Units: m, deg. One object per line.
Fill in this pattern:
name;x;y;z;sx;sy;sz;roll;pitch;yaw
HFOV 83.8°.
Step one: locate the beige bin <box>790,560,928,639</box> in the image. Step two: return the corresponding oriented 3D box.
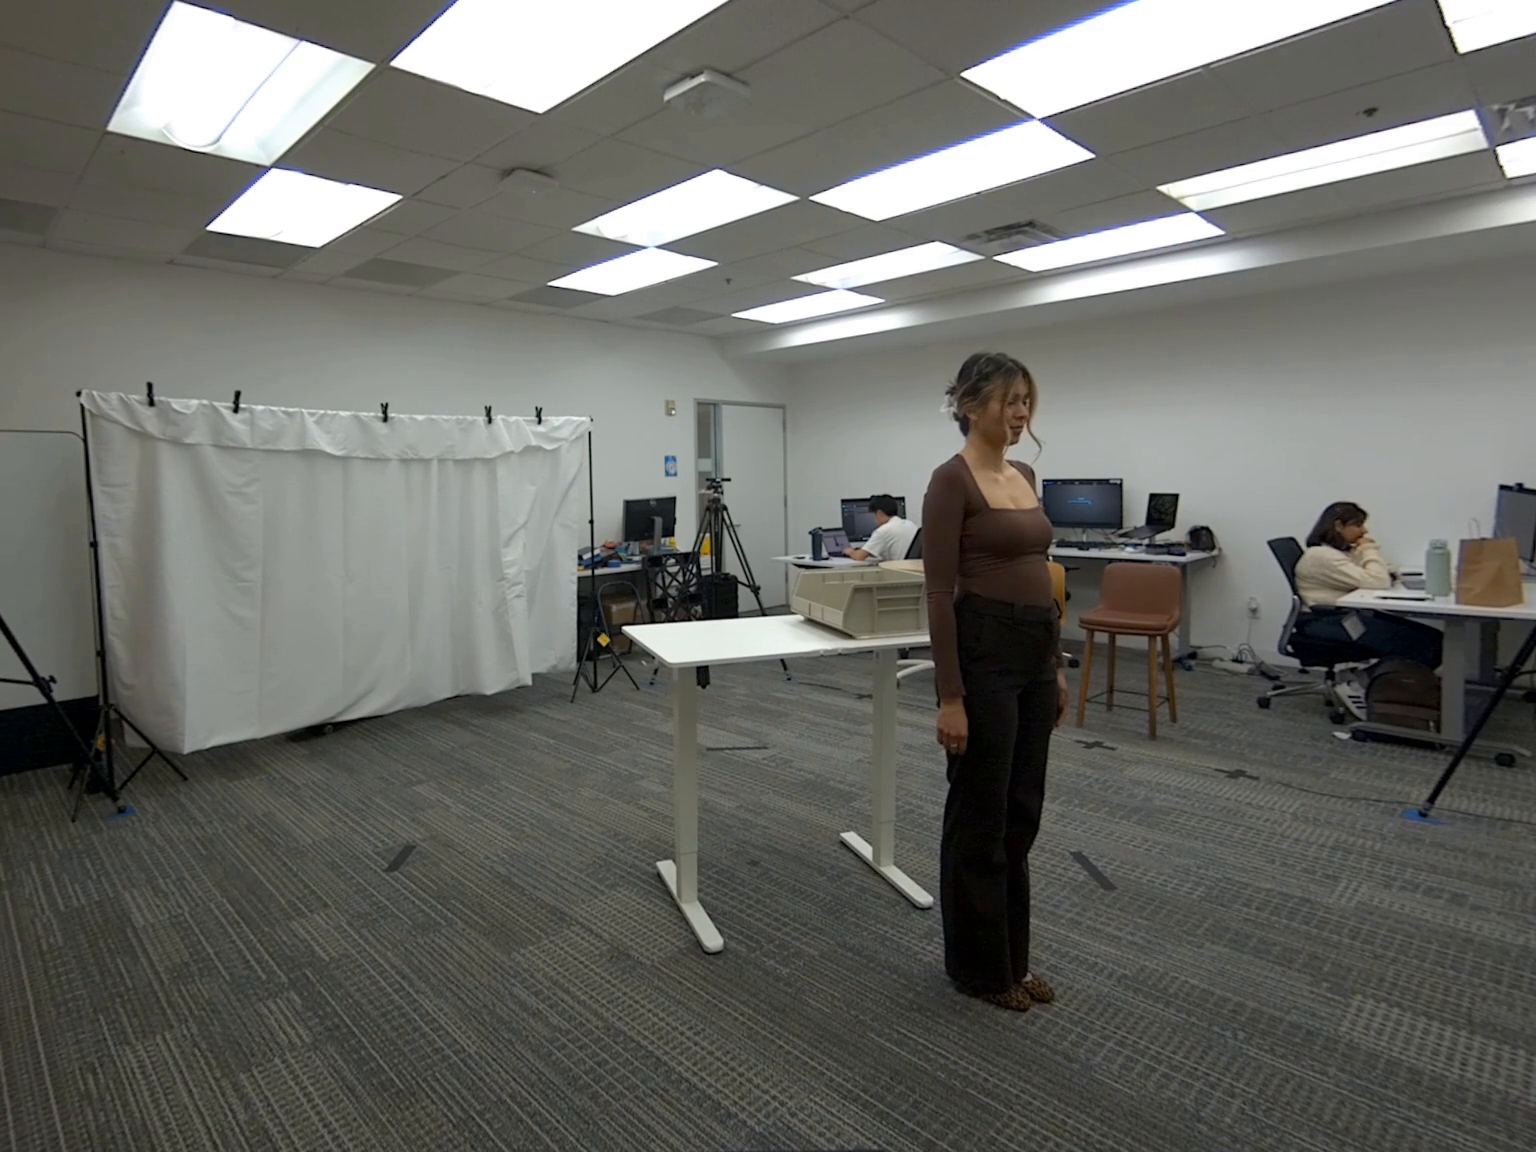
beige bin;0.334;0.087;2.923;0.370;0.188;0.432;-1;6;-21
